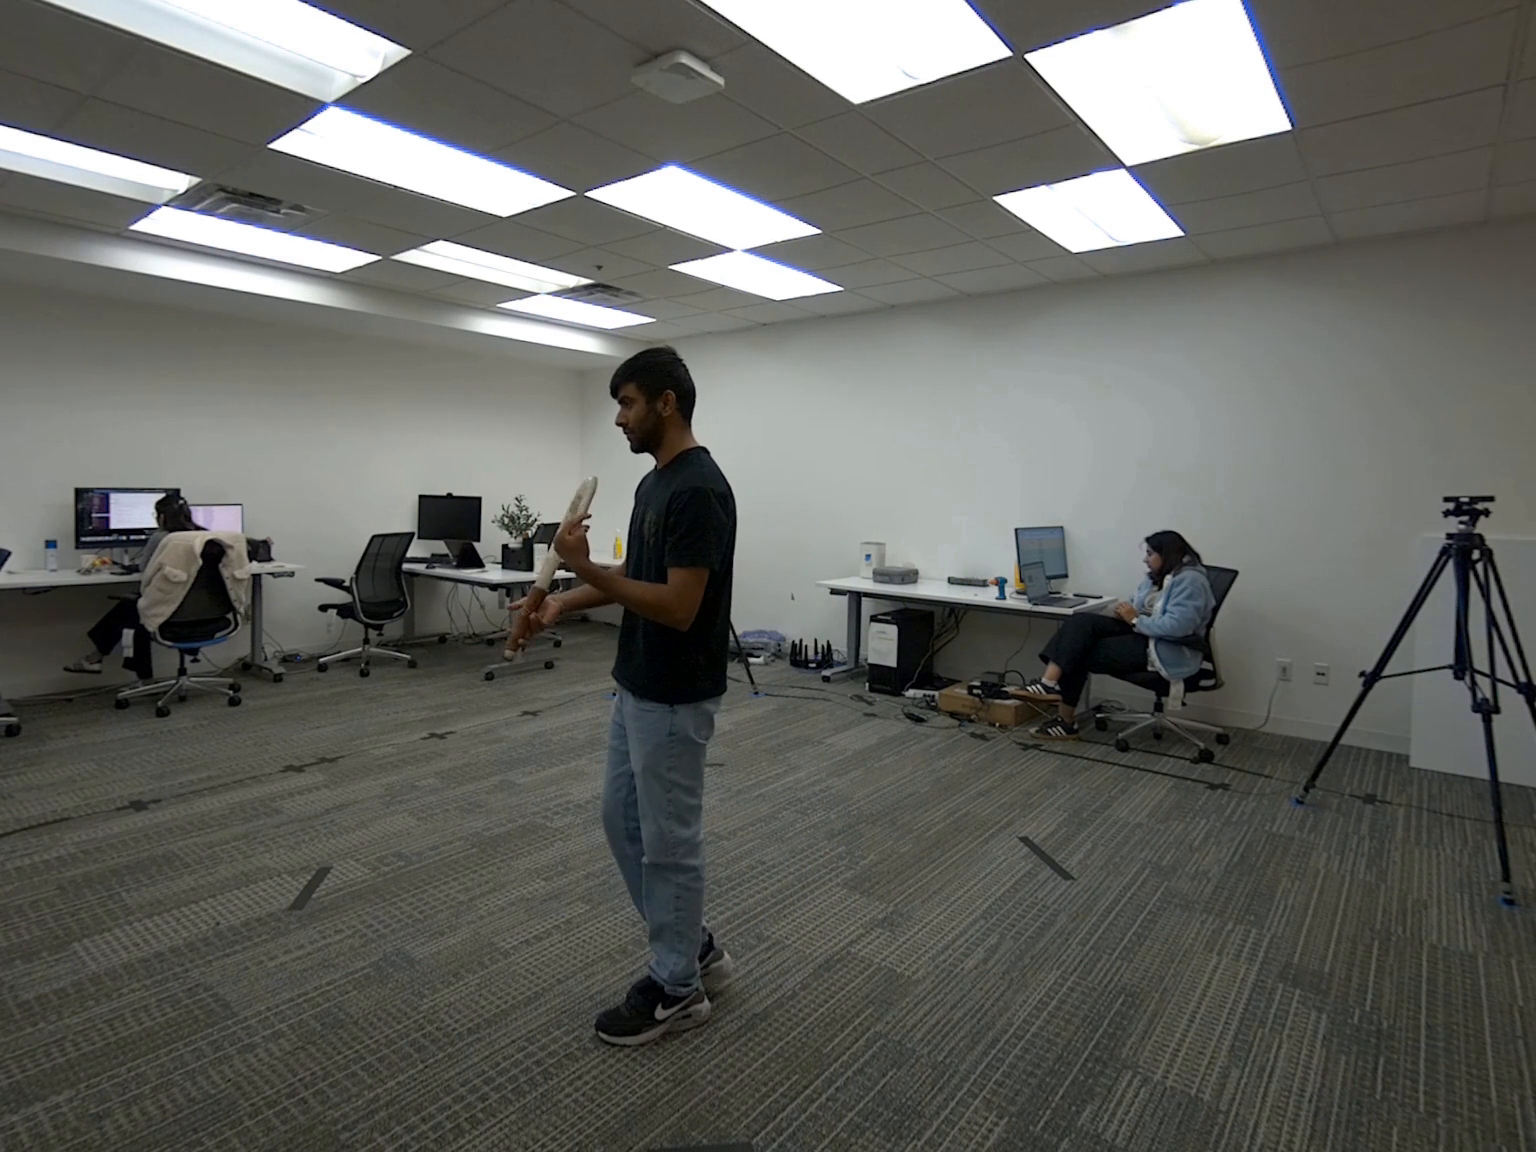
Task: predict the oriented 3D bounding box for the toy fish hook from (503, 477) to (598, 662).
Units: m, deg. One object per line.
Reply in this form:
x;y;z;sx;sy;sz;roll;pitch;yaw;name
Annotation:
-0.554;-0.012;2.118;0.047;0.508;0.228;23;-5;-15;toy fish hook
